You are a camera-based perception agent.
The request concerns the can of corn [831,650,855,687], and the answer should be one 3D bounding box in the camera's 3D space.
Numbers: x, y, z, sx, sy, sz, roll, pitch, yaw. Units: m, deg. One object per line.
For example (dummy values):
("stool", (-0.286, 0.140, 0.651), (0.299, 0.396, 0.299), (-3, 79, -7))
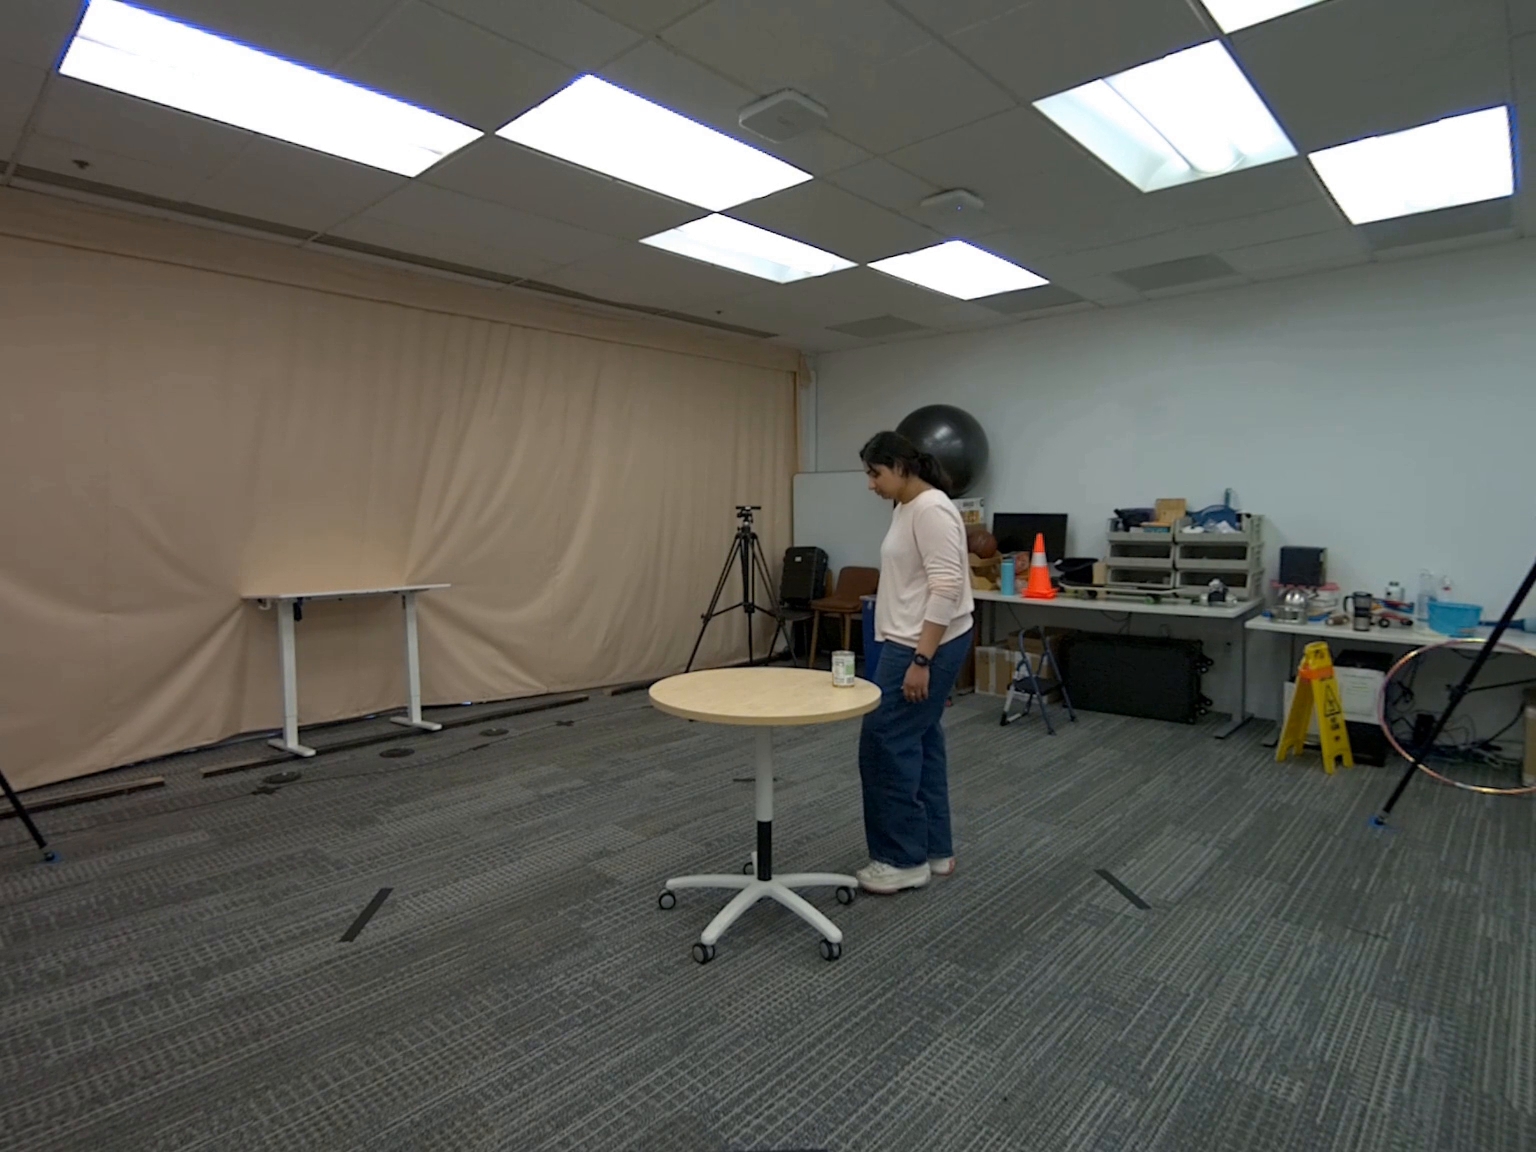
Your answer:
("can of corn", (0.257, 0.317, 2.828), (0.074, 0.111, 0.074), (-1, 2, -2))
